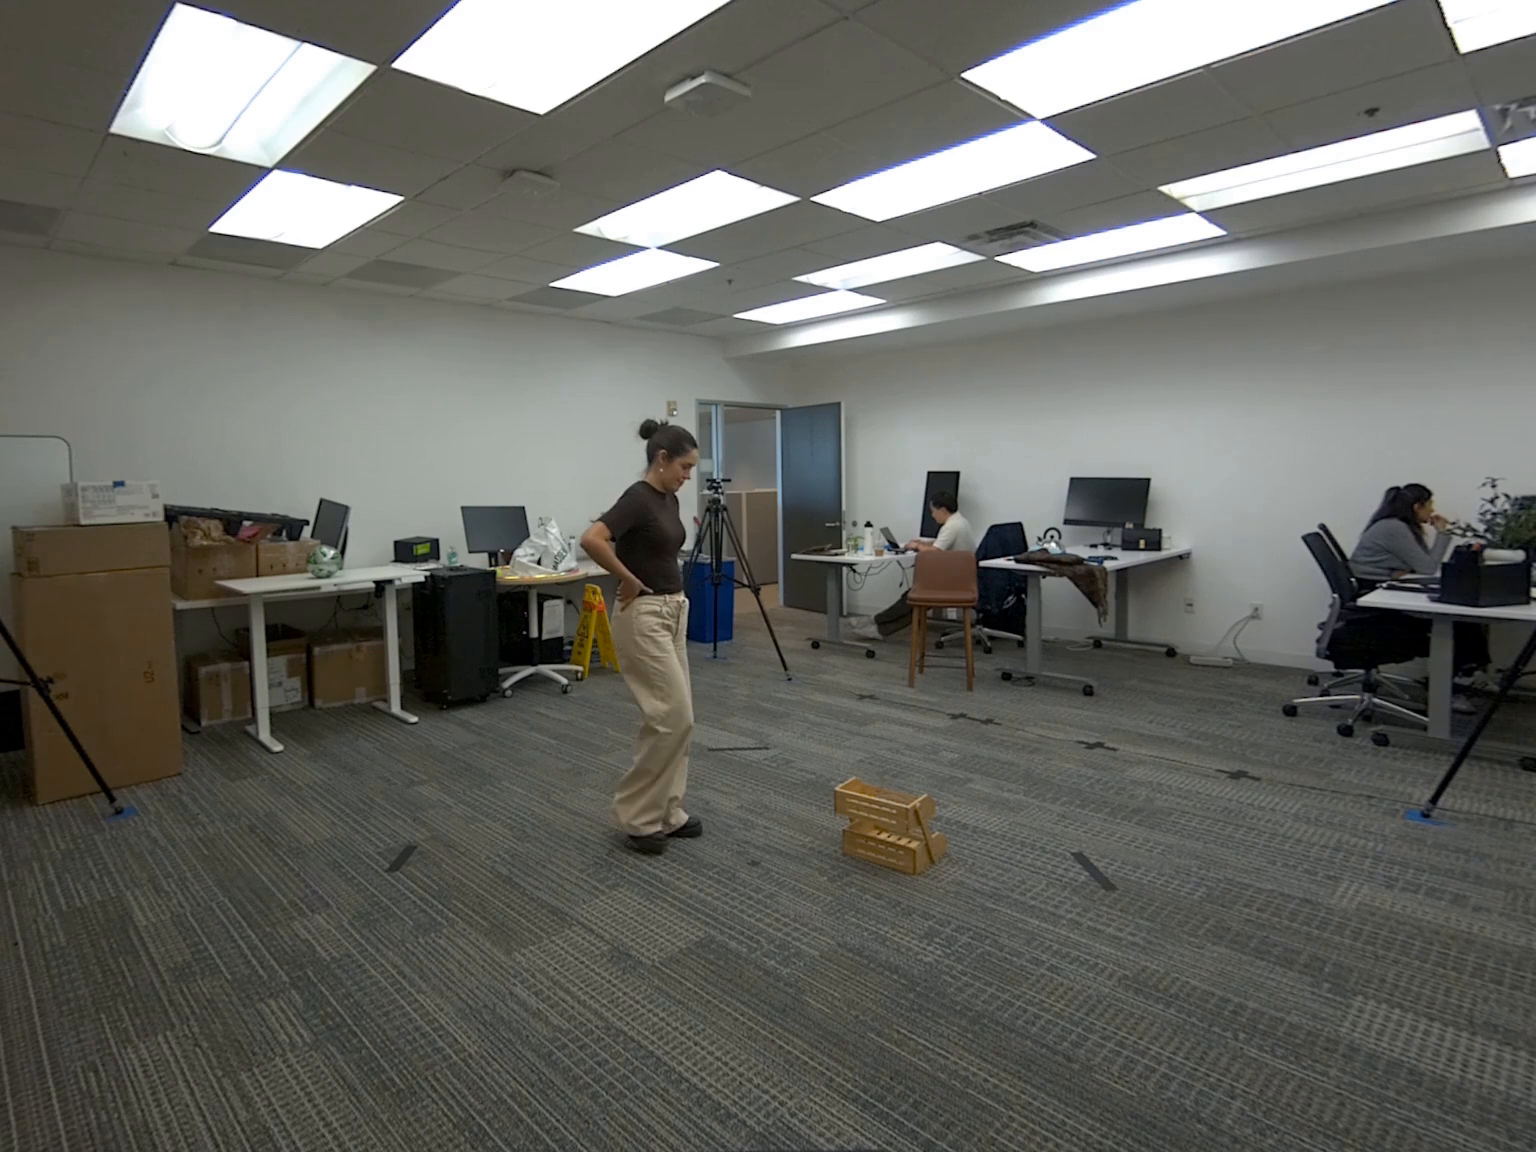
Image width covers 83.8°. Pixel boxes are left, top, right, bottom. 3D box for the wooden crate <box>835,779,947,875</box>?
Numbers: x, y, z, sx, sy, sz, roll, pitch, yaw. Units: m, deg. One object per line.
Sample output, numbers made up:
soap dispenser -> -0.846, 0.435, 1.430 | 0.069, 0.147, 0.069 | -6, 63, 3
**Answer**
wooden crate -> 0.457, 0.896, 3.149 | 0.334, 0.272, 0.294 | 3, 7, 39
